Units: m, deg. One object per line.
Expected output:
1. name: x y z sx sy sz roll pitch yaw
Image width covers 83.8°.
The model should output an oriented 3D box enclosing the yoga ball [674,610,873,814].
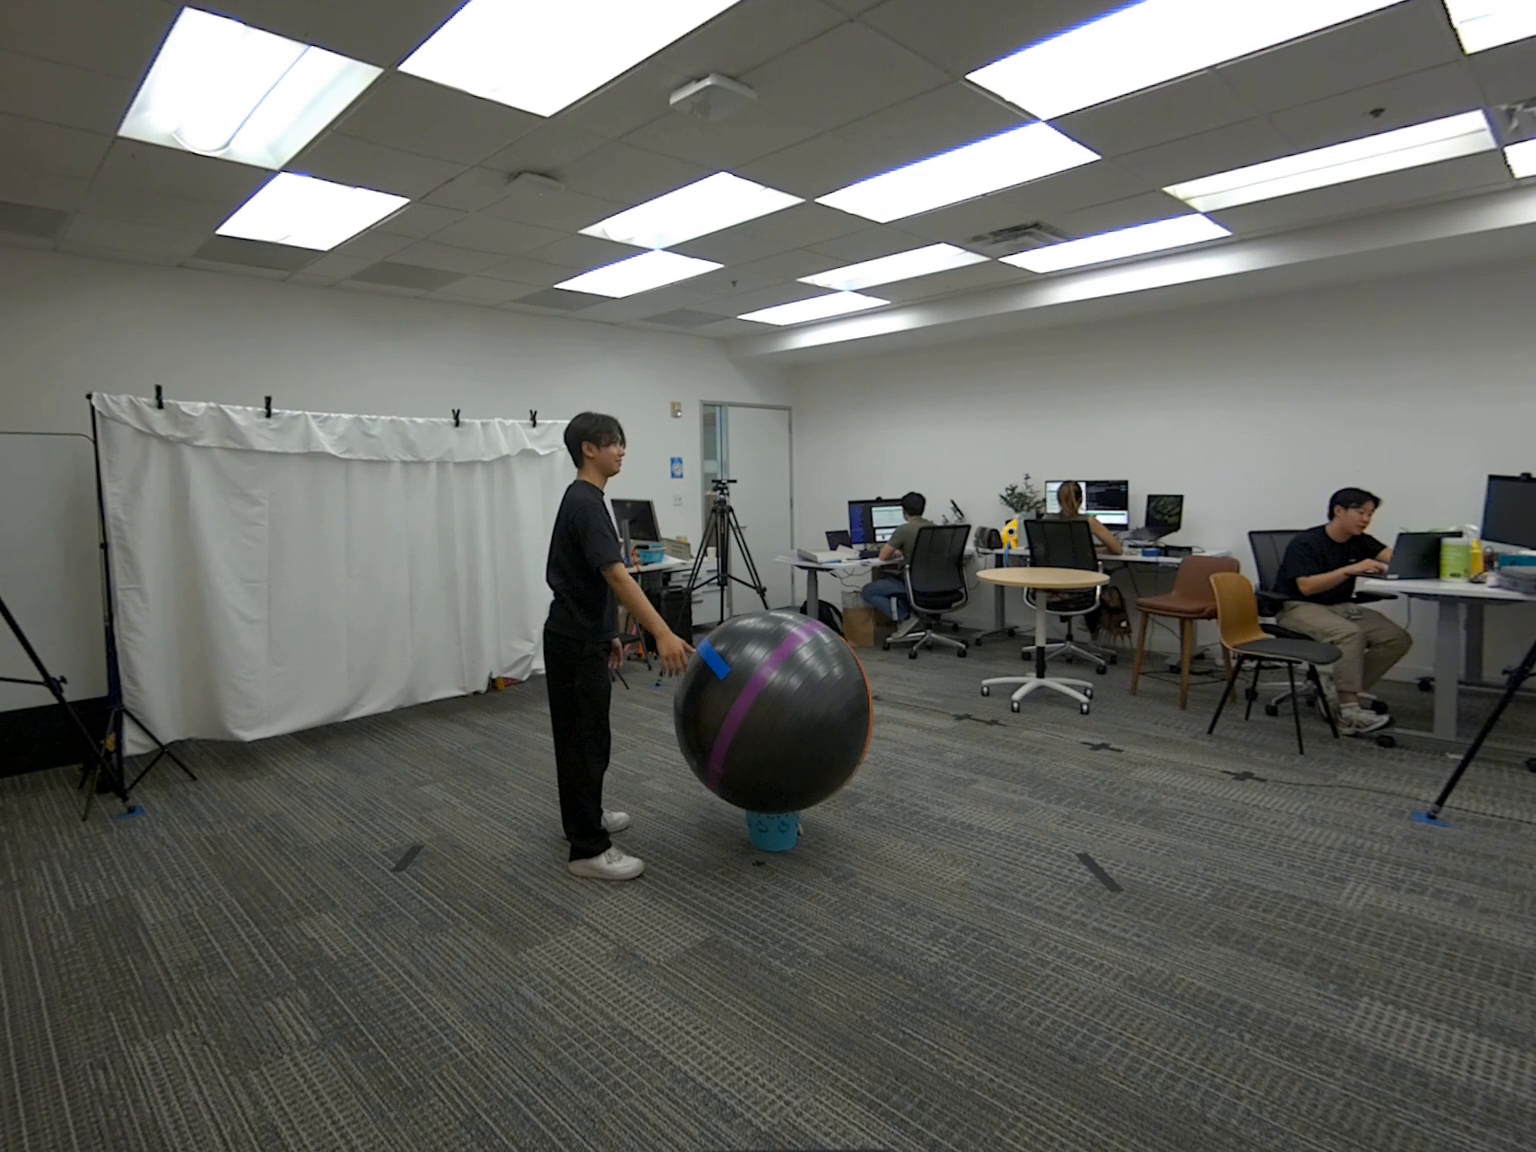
1. yoga ball: 0.026 0.516 3.275 0.757 0.755 0.762 -1 5 -2
